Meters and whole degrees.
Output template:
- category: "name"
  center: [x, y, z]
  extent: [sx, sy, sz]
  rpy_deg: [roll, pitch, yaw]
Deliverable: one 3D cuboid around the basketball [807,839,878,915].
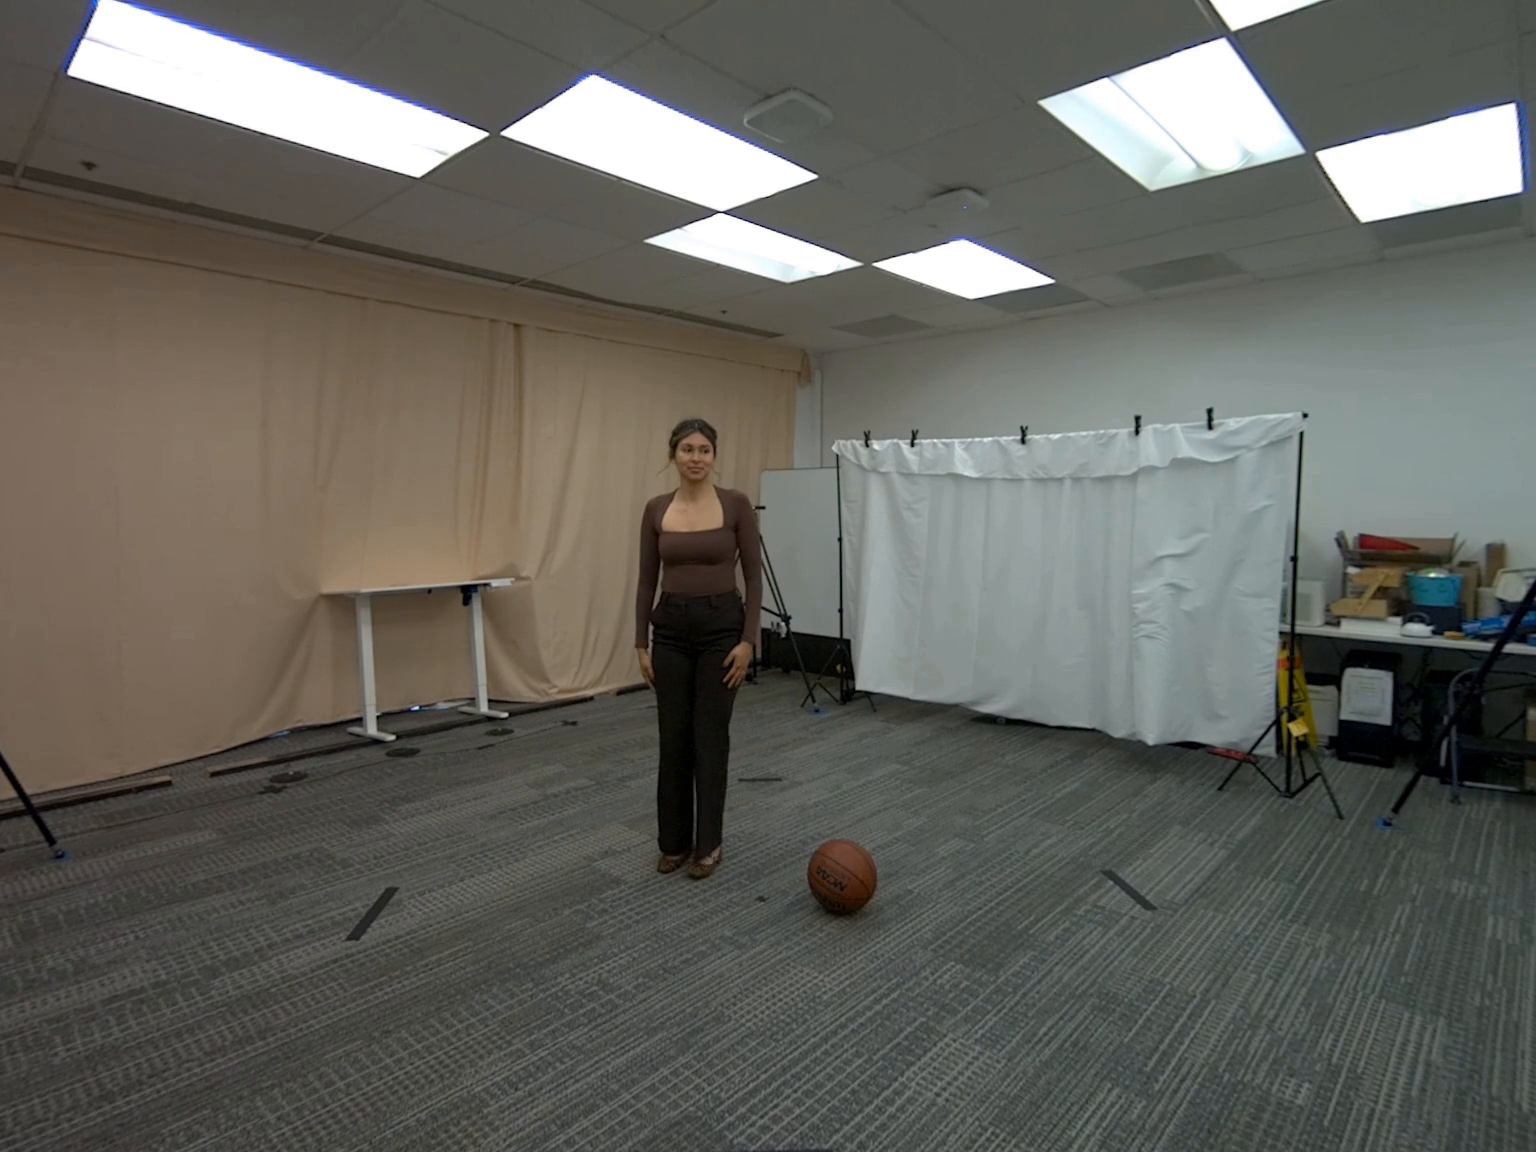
- category: "basketball"
  center: [0.260, 1.027, 2.899]
  extent: [0.236, 0.235, 0.237]
  rpy_deg: [0, 4, -2]
